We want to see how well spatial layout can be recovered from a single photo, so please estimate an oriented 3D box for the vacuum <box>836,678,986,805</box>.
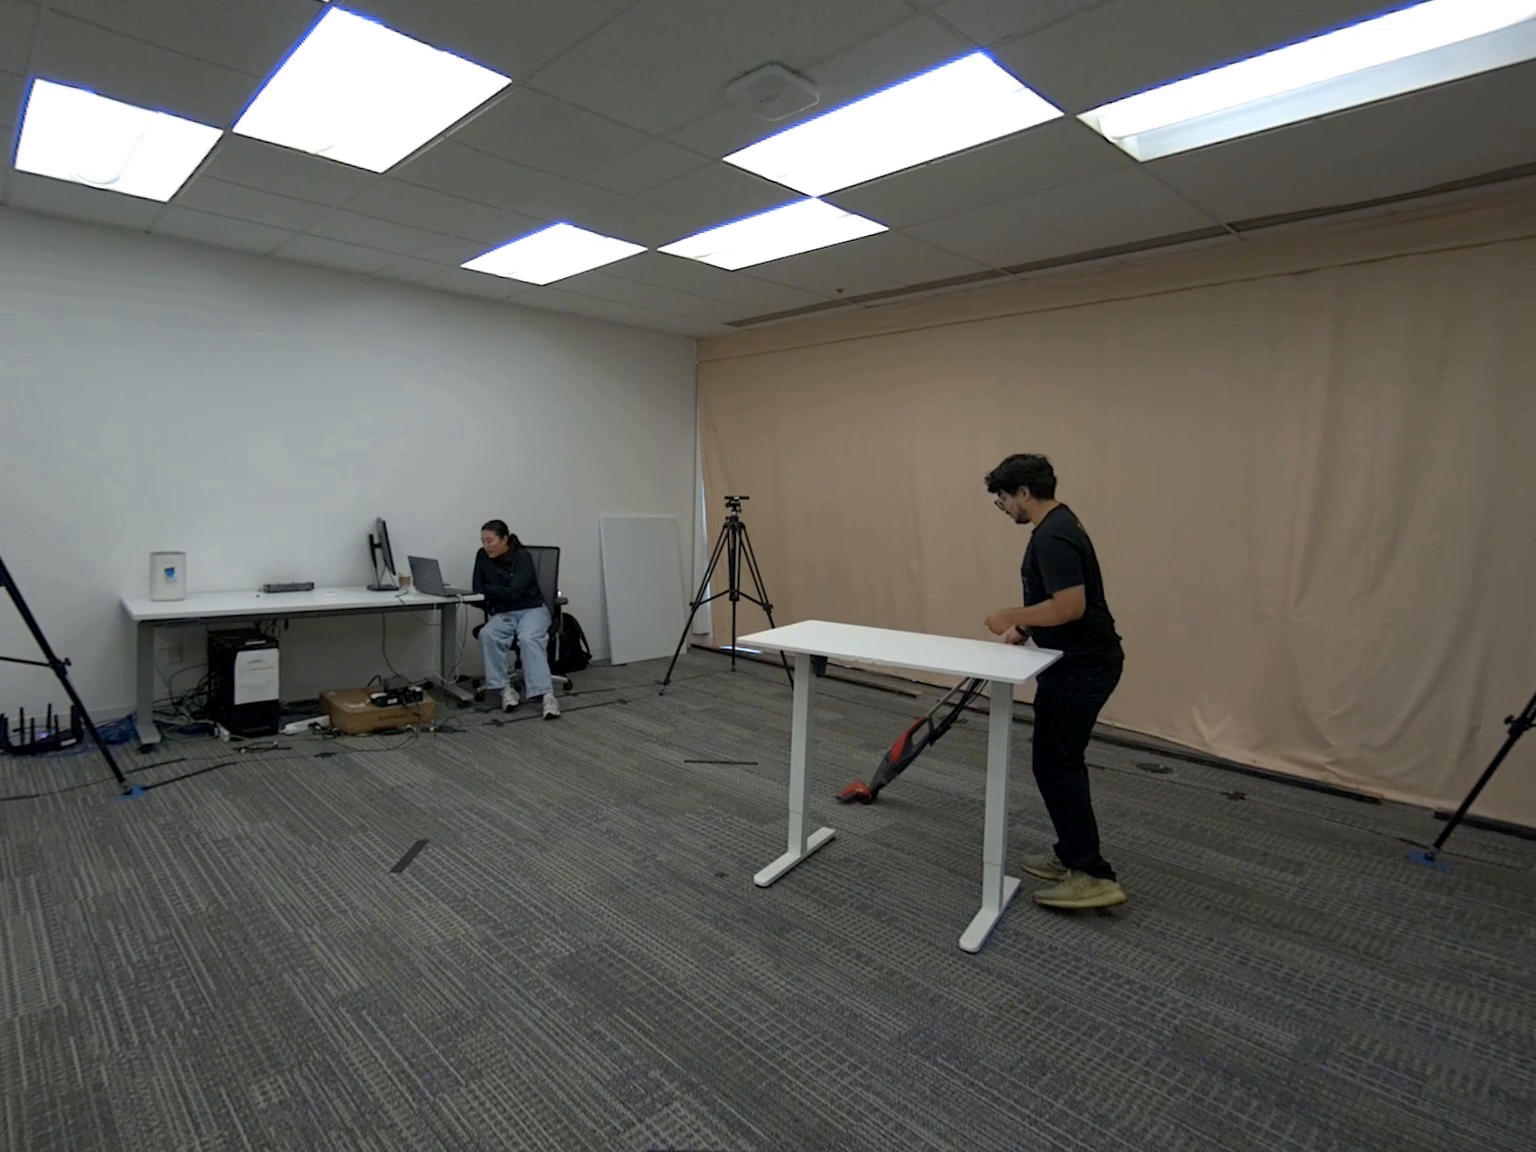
[{"bbox_3d":[0.720,0.658,3.756,0.147,1.047,0.248,47,23,19],"label":"vacuum"}]
